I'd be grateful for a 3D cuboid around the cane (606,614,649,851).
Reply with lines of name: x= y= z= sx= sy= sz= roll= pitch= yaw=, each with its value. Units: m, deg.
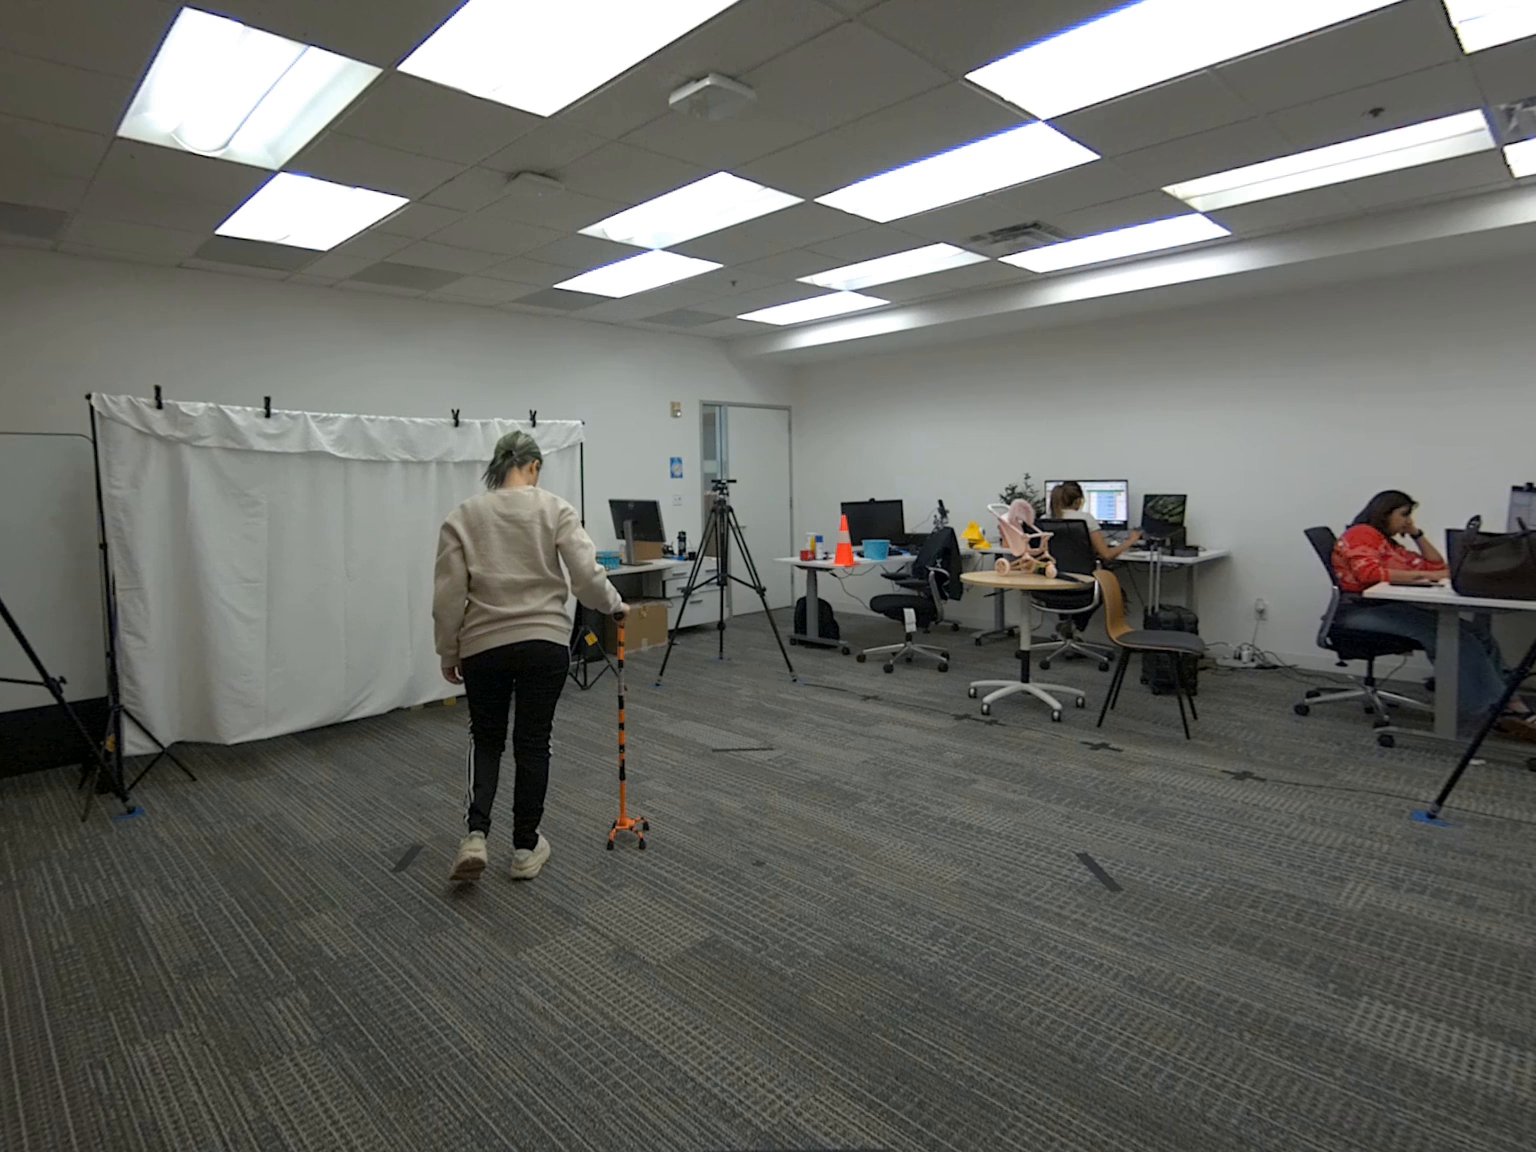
cane: x=-0.550 y=0.580 z=3.312 sx=0.151 sy=0.905 sz=0.208 roll=-1 pitch=4 yaw=-3
